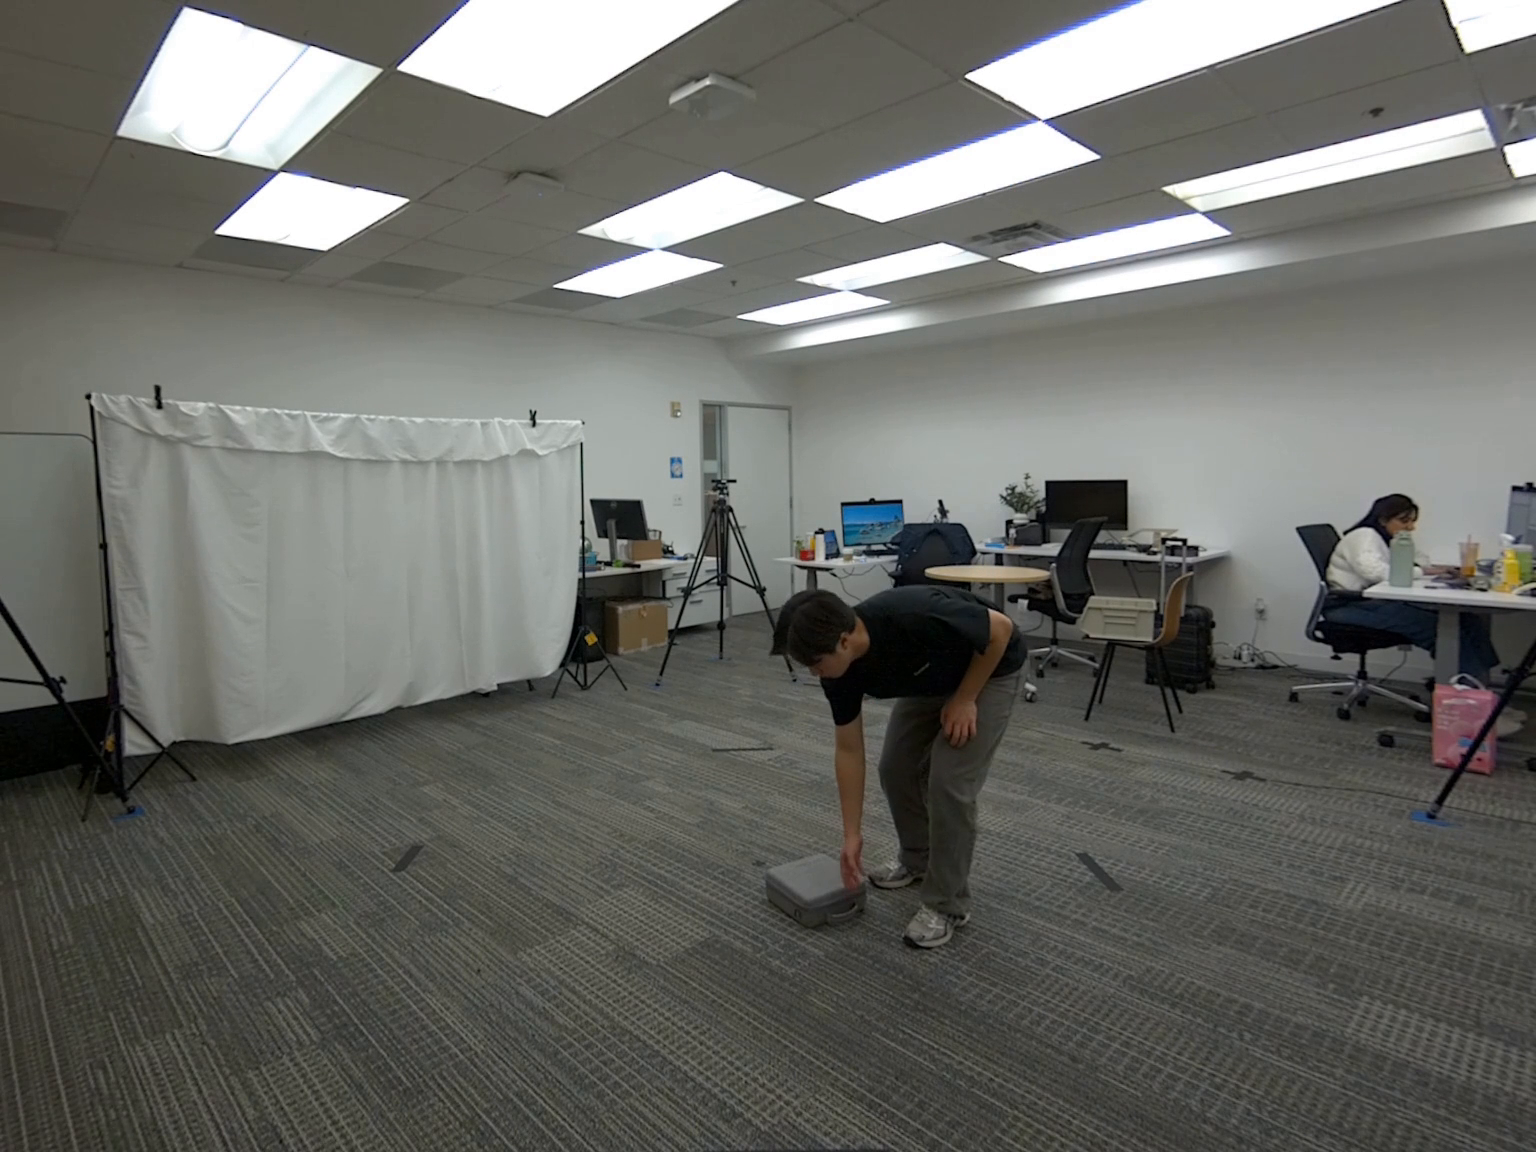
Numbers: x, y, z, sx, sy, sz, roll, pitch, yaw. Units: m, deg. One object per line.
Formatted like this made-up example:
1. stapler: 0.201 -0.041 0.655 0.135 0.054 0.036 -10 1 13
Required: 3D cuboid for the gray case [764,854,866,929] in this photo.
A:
1. gray case: 0.169 1.029 2.785 0.257 0.102 0.295 -5 8 -32
